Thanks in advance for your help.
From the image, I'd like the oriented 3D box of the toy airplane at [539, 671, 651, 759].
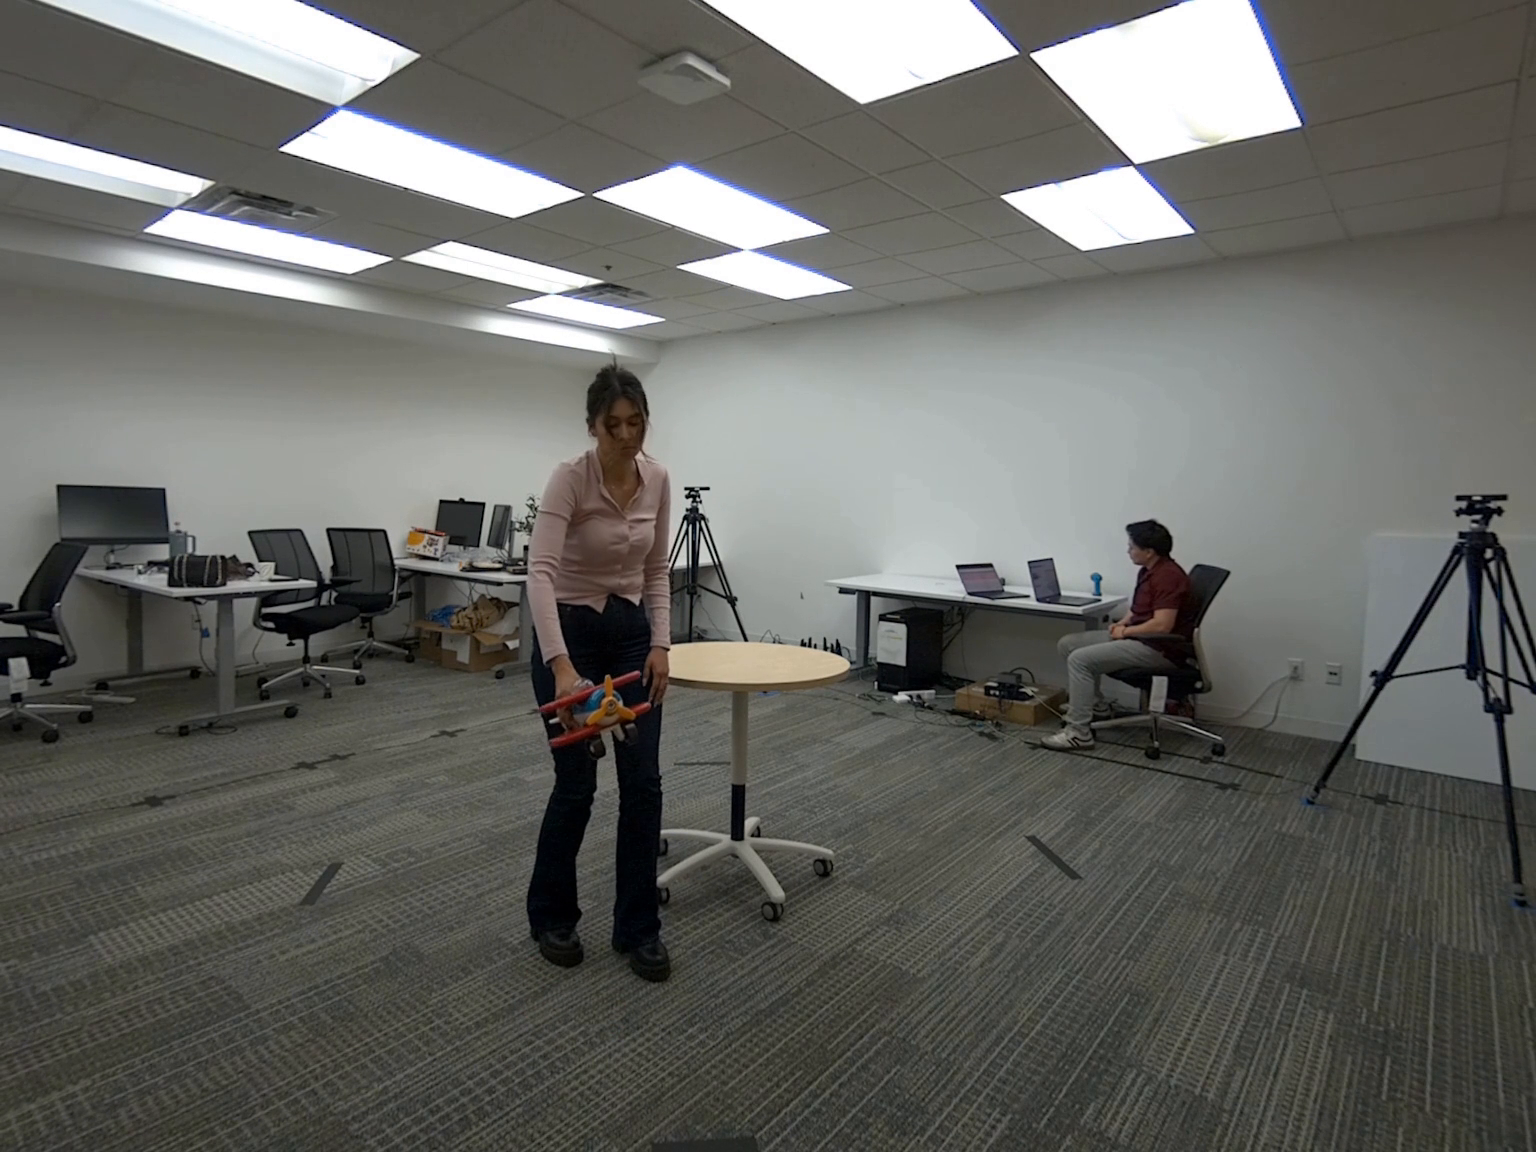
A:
[{"bbox_3d":[-0.435,0.328,1.991,0.265,0.155,0.248,-5,11,26],"label":"toy airplane"}]
